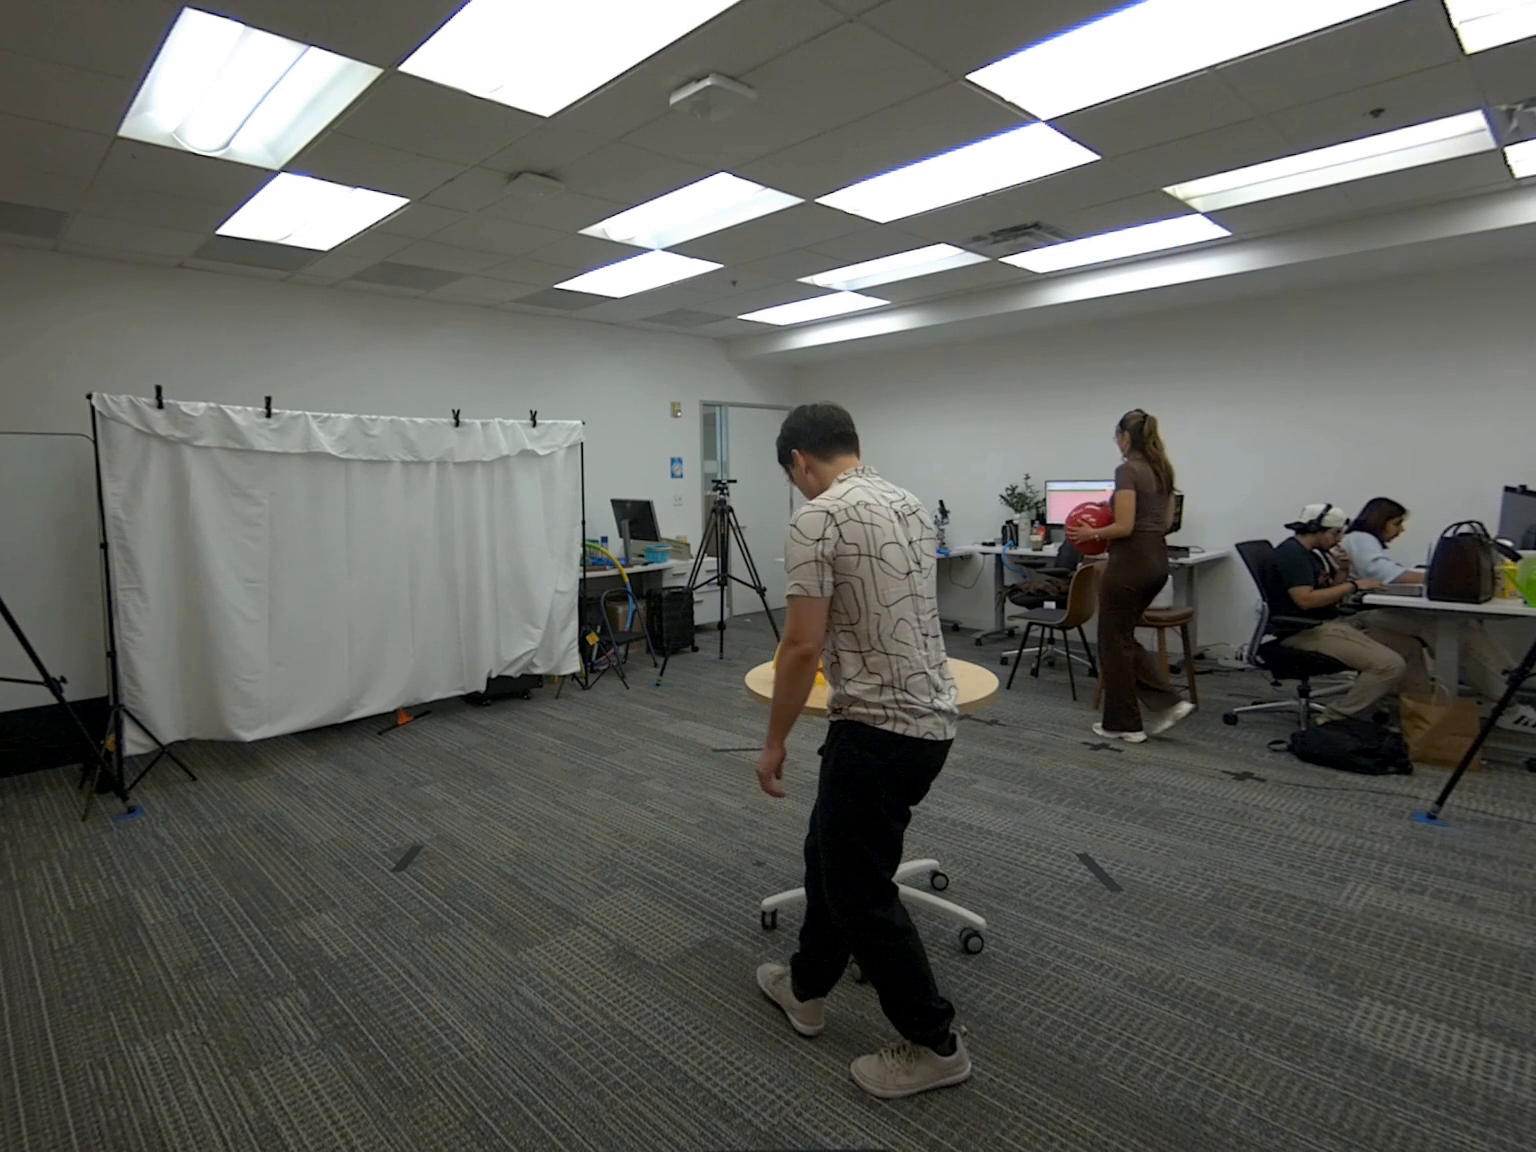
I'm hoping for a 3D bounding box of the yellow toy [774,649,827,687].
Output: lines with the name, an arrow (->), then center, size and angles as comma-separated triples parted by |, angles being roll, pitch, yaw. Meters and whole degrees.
yellow toy -> 0.117, 0.202, 2.636 | 0.195, 0.230, 0.203 | -1, 5, 11
